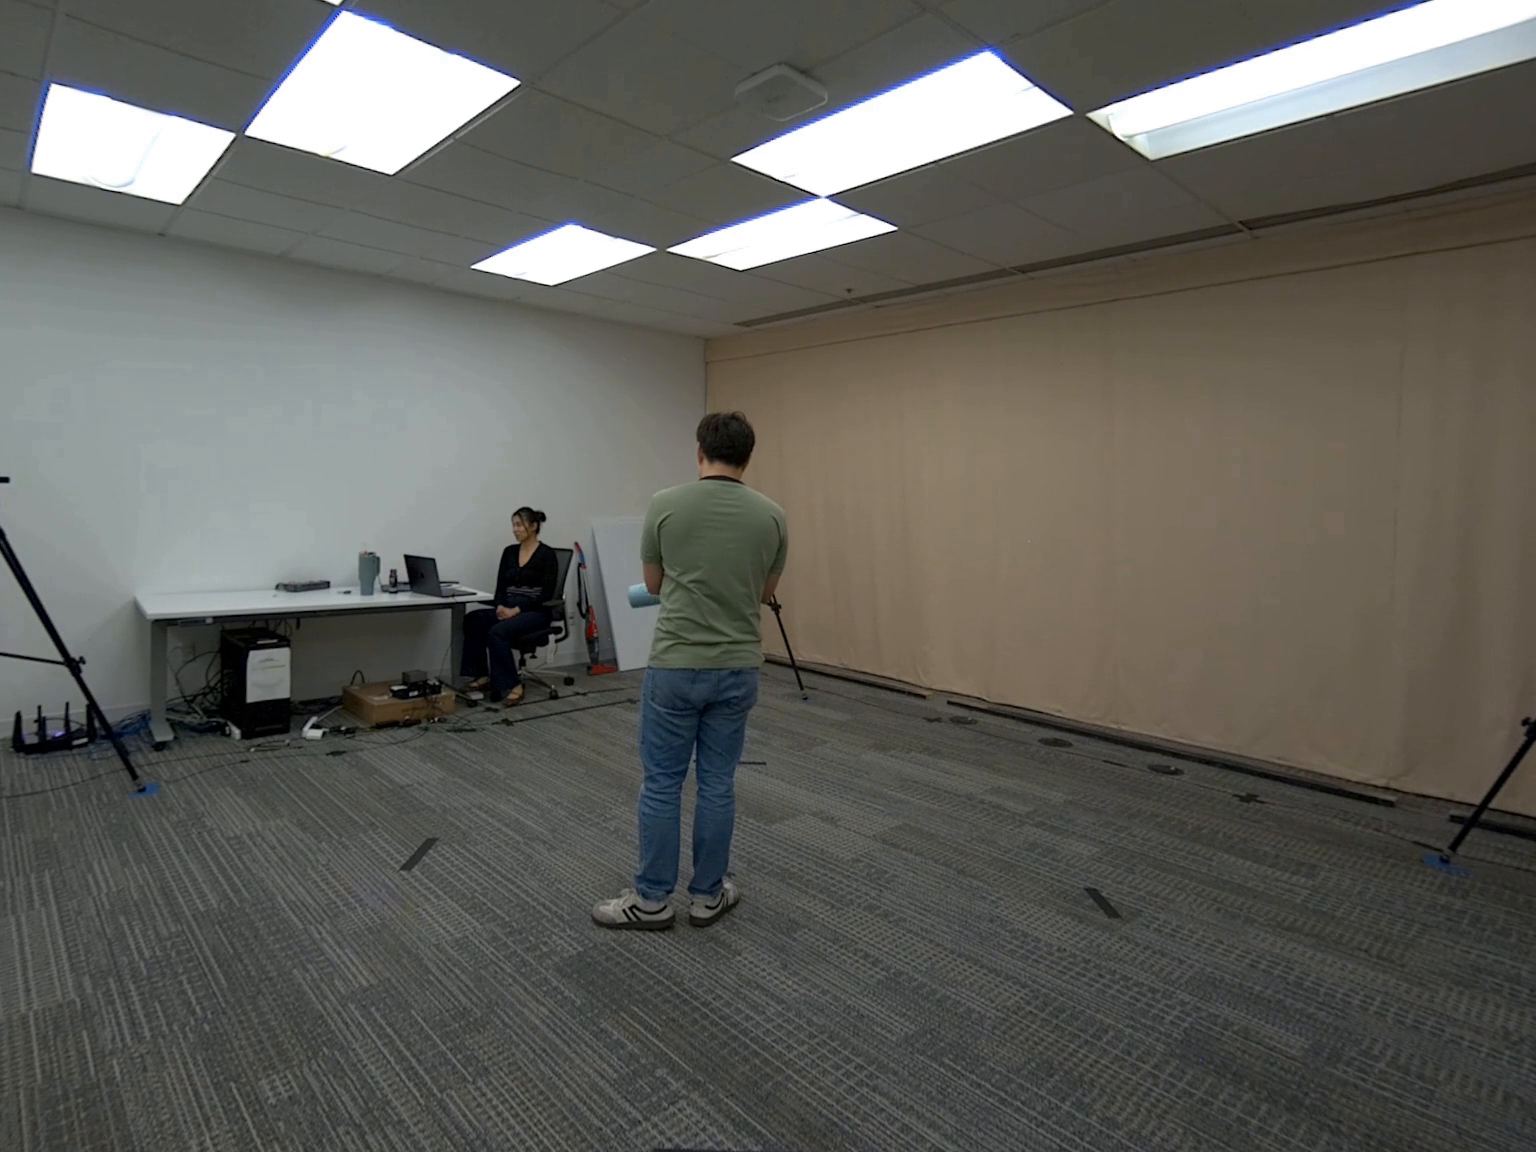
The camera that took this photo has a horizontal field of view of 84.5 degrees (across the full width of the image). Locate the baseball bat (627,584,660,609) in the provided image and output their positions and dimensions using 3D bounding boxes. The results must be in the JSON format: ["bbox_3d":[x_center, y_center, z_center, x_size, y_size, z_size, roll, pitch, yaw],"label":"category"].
[{"bbox_3d":[-0.260,0.043,3.180,0.541,0.089,0.090,-9,5,-5],"label":"baseball bat"}]
